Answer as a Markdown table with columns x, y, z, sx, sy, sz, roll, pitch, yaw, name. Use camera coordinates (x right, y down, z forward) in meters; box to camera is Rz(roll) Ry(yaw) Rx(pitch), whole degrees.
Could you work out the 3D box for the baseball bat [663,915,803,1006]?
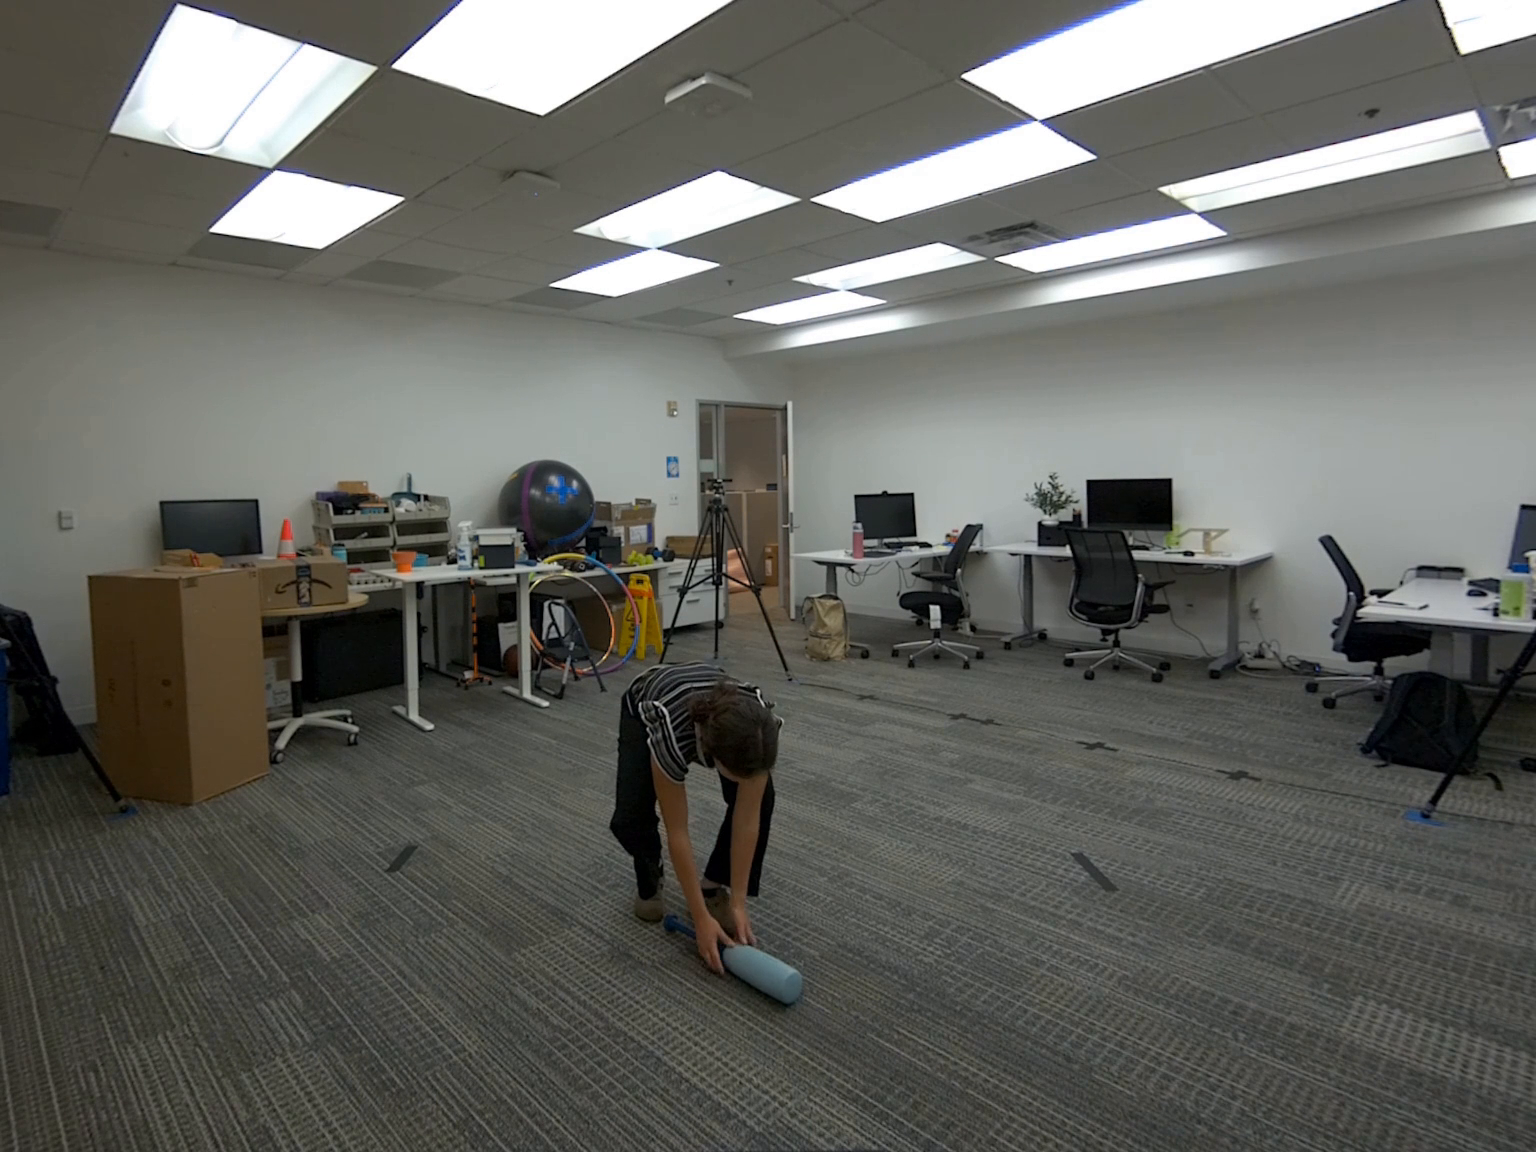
| x | y | z | sx | sy | sz | roll | pitch | yaw | name |
| --- | --- | --- | --- | --- | --- | --- | --- | --- | --- |
| -0.115 | 1.089 | 2.455 | 0.087 | 0.089 | 0.558 | -5 | 4 | -43 | baseball bat |
